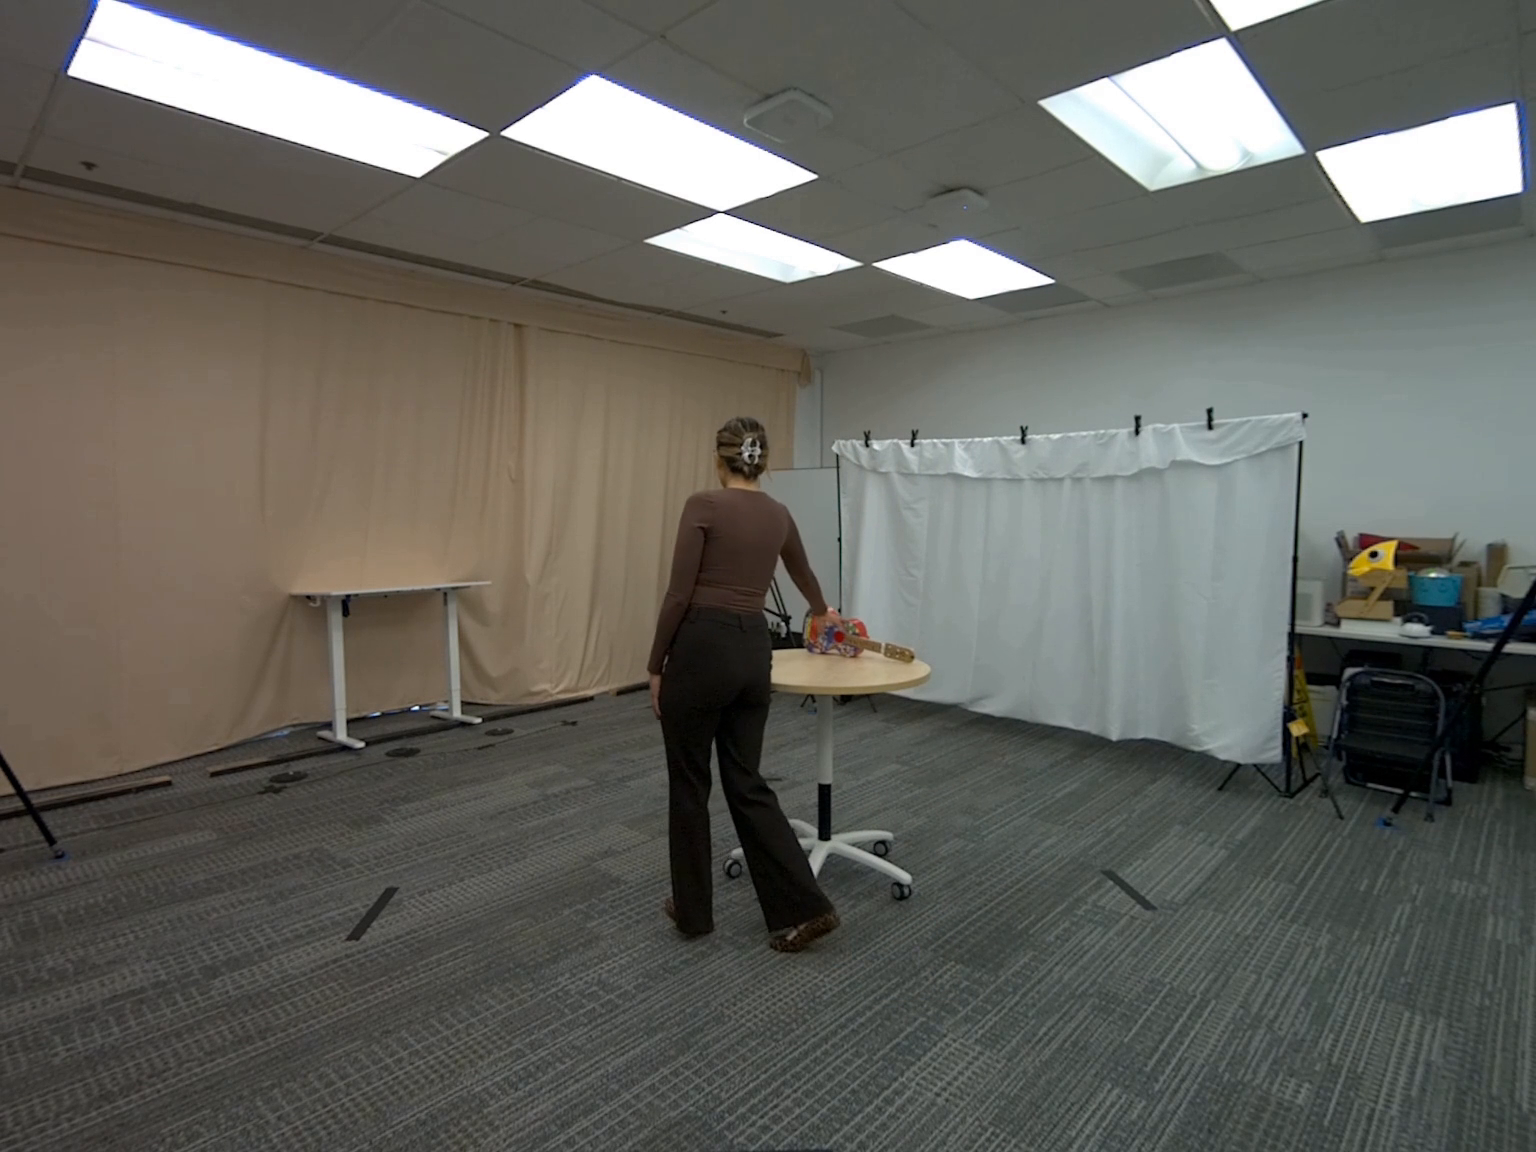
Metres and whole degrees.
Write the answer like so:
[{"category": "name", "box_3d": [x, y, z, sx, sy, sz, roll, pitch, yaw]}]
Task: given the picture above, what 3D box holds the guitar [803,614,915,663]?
[{"category": "guitar", "box_3d": [0.351, 0.279, 3.294, 0.515, 0.192, 0.068, 24, 17, 35]}]
